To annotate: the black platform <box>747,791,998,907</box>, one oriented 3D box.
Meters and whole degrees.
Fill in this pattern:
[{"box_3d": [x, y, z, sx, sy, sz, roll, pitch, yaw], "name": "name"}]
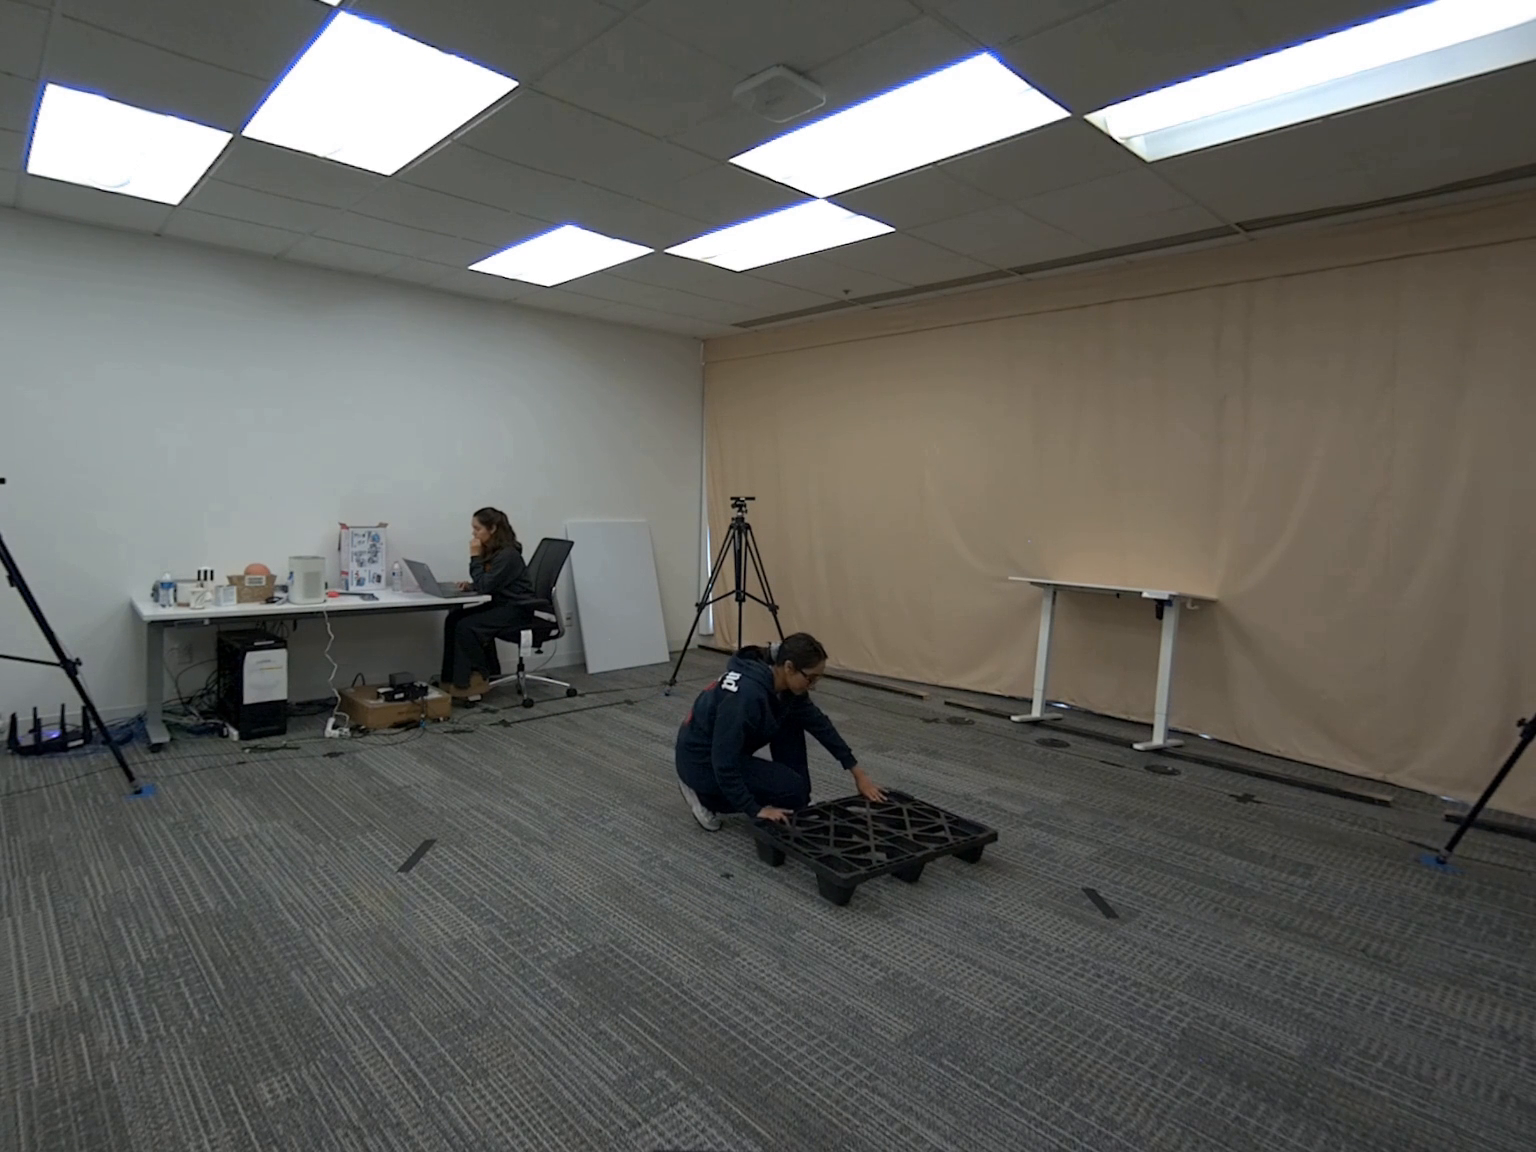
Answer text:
[{"box_3d": [0.381, 1.035, 3.277, 0.788, 0.143, 0.620, -2, 6, -36], "name": "black platform"}]
